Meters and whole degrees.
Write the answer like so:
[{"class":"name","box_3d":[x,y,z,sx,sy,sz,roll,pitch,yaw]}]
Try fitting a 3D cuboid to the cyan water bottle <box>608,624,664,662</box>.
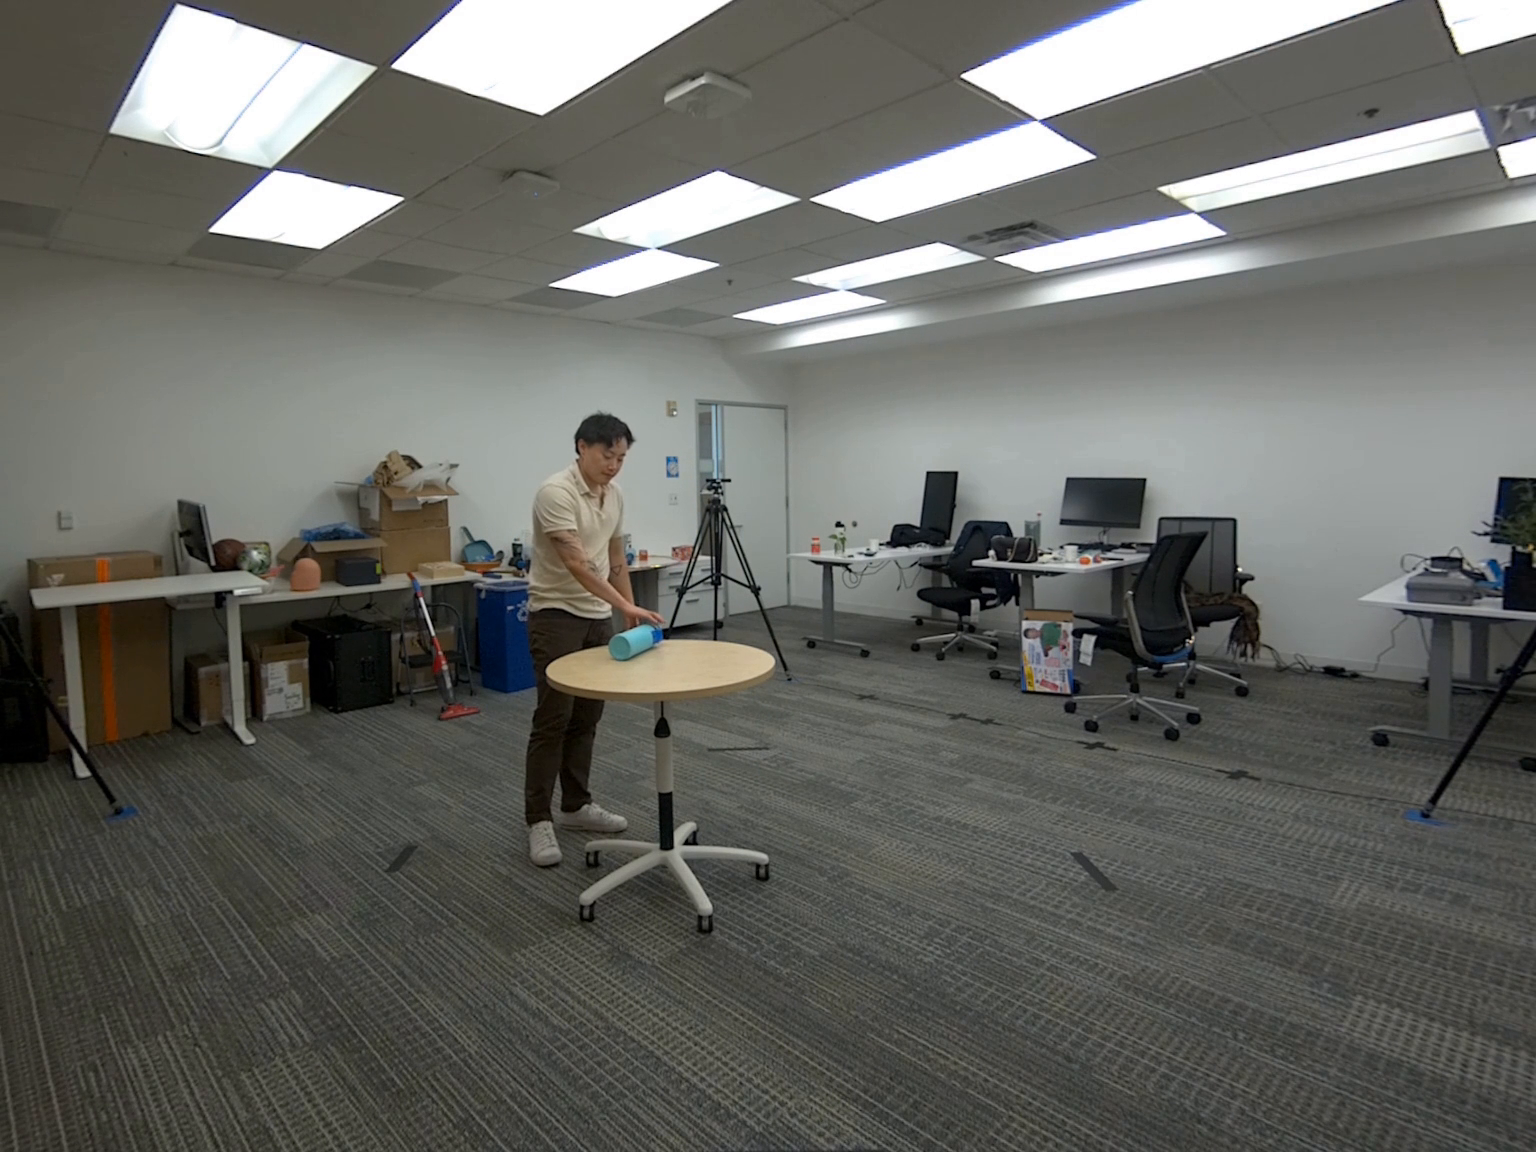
[{"class":"cyan water bottle","box_3d":[-0.465,0.231,3.046,0.094,0.092,0.279,1,6,18]}]
